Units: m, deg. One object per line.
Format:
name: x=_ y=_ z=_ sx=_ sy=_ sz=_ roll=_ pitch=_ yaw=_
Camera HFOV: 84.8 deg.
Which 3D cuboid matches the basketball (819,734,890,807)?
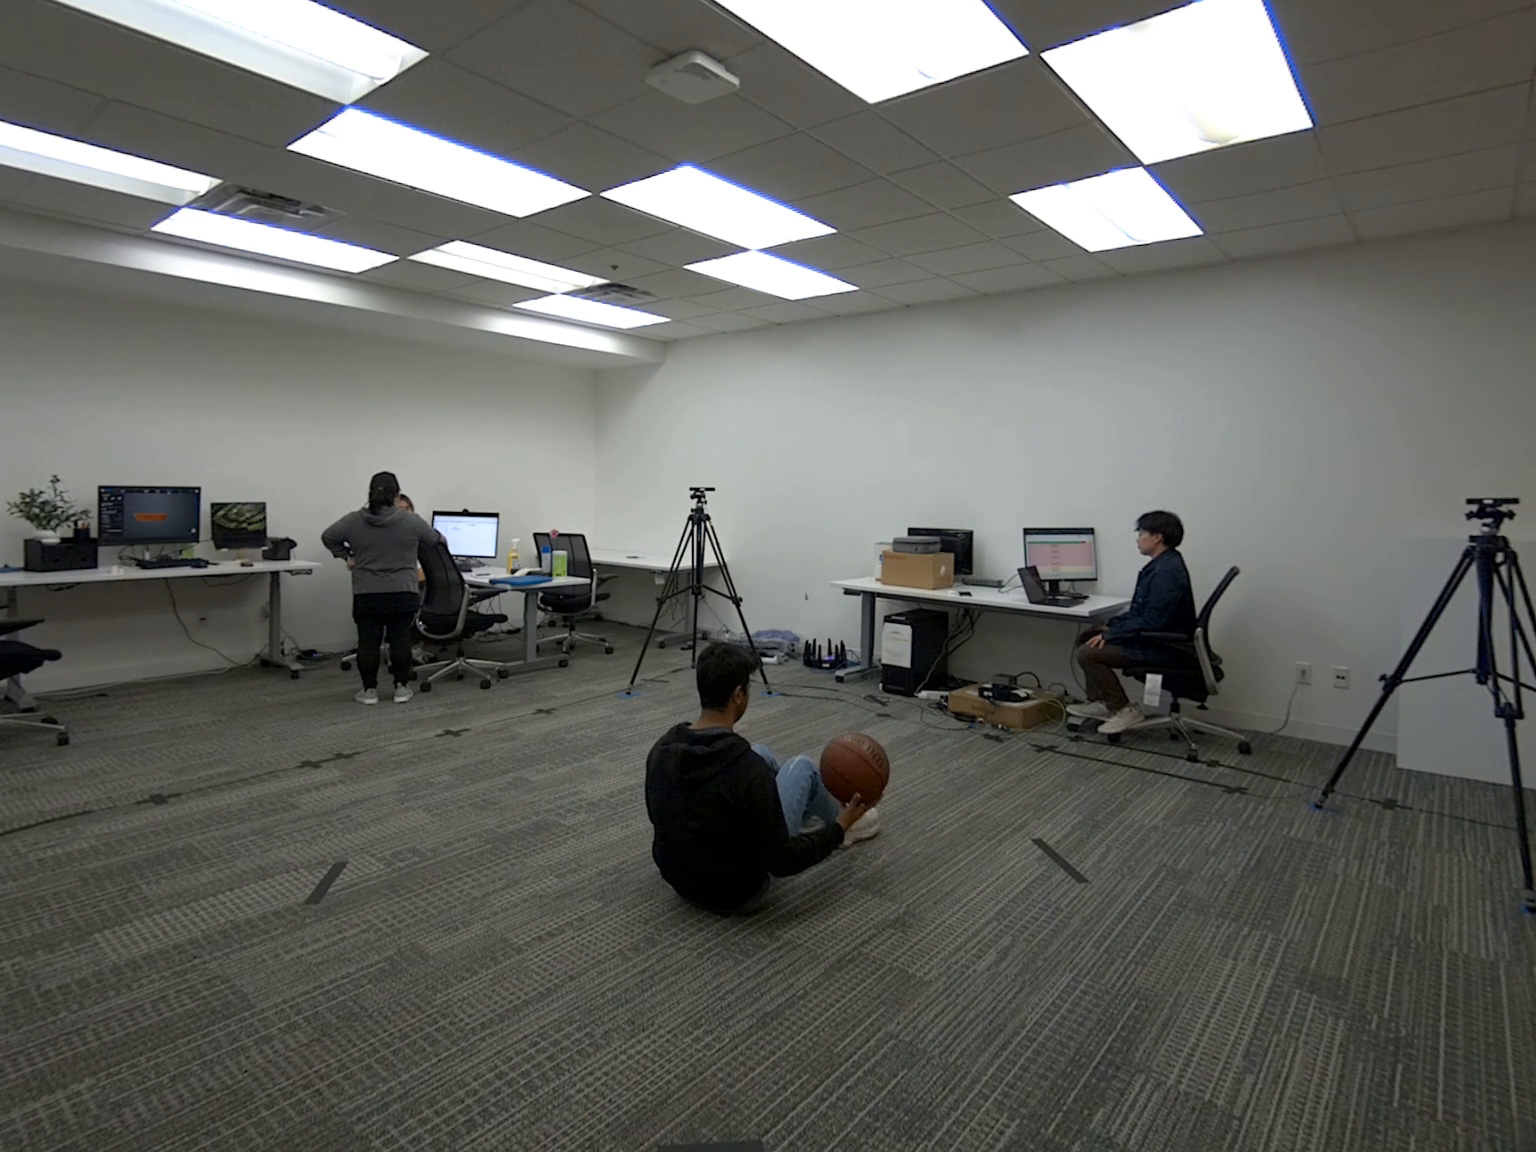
basketball: x=0.273 y=0.662 z=2.916 sx=0.235 sy=0.235 sz=0.237 roll=1 pitch=4 yaw=-2
